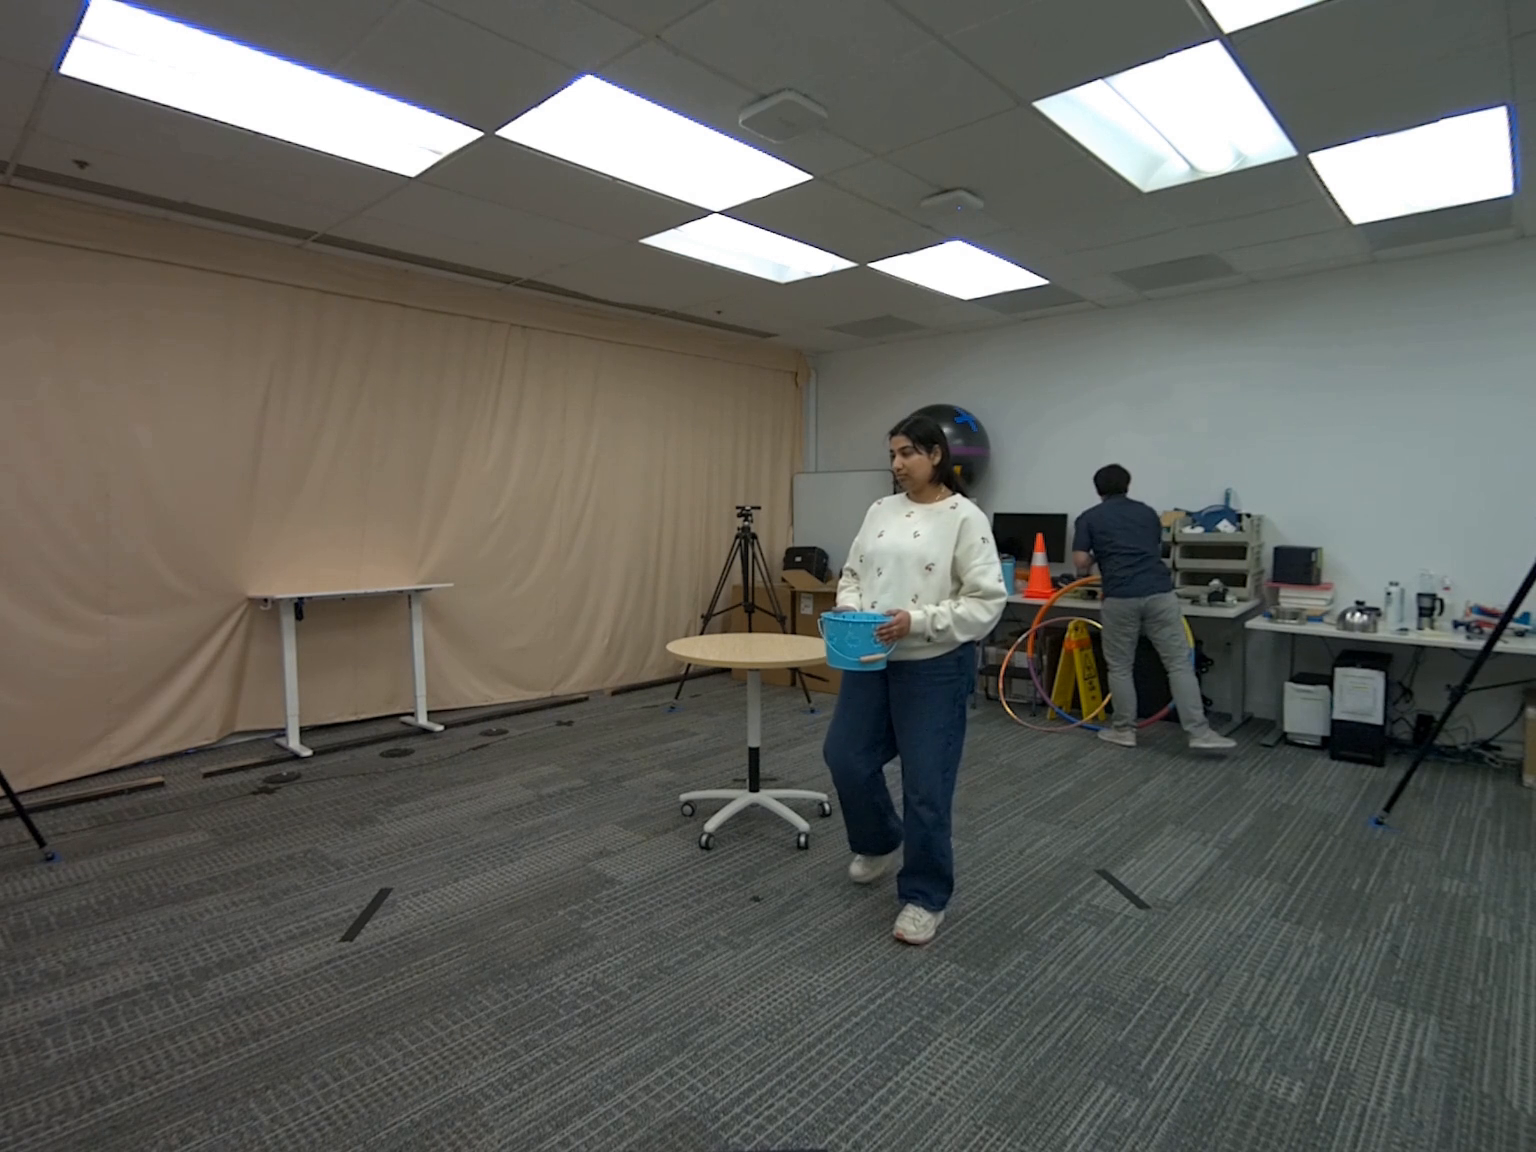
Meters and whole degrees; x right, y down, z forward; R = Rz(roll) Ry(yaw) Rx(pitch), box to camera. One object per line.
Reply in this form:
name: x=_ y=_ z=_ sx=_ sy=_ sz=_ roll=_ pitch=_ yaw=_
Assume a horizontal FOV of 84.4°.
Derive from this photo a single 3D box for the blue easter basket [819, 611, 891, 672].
blue easter basket: x=0.282 y=0.205 z=2.590 sx=0.243 sy=0.155 sz=0.244 roll=4 pitch=3 yaw=-2
